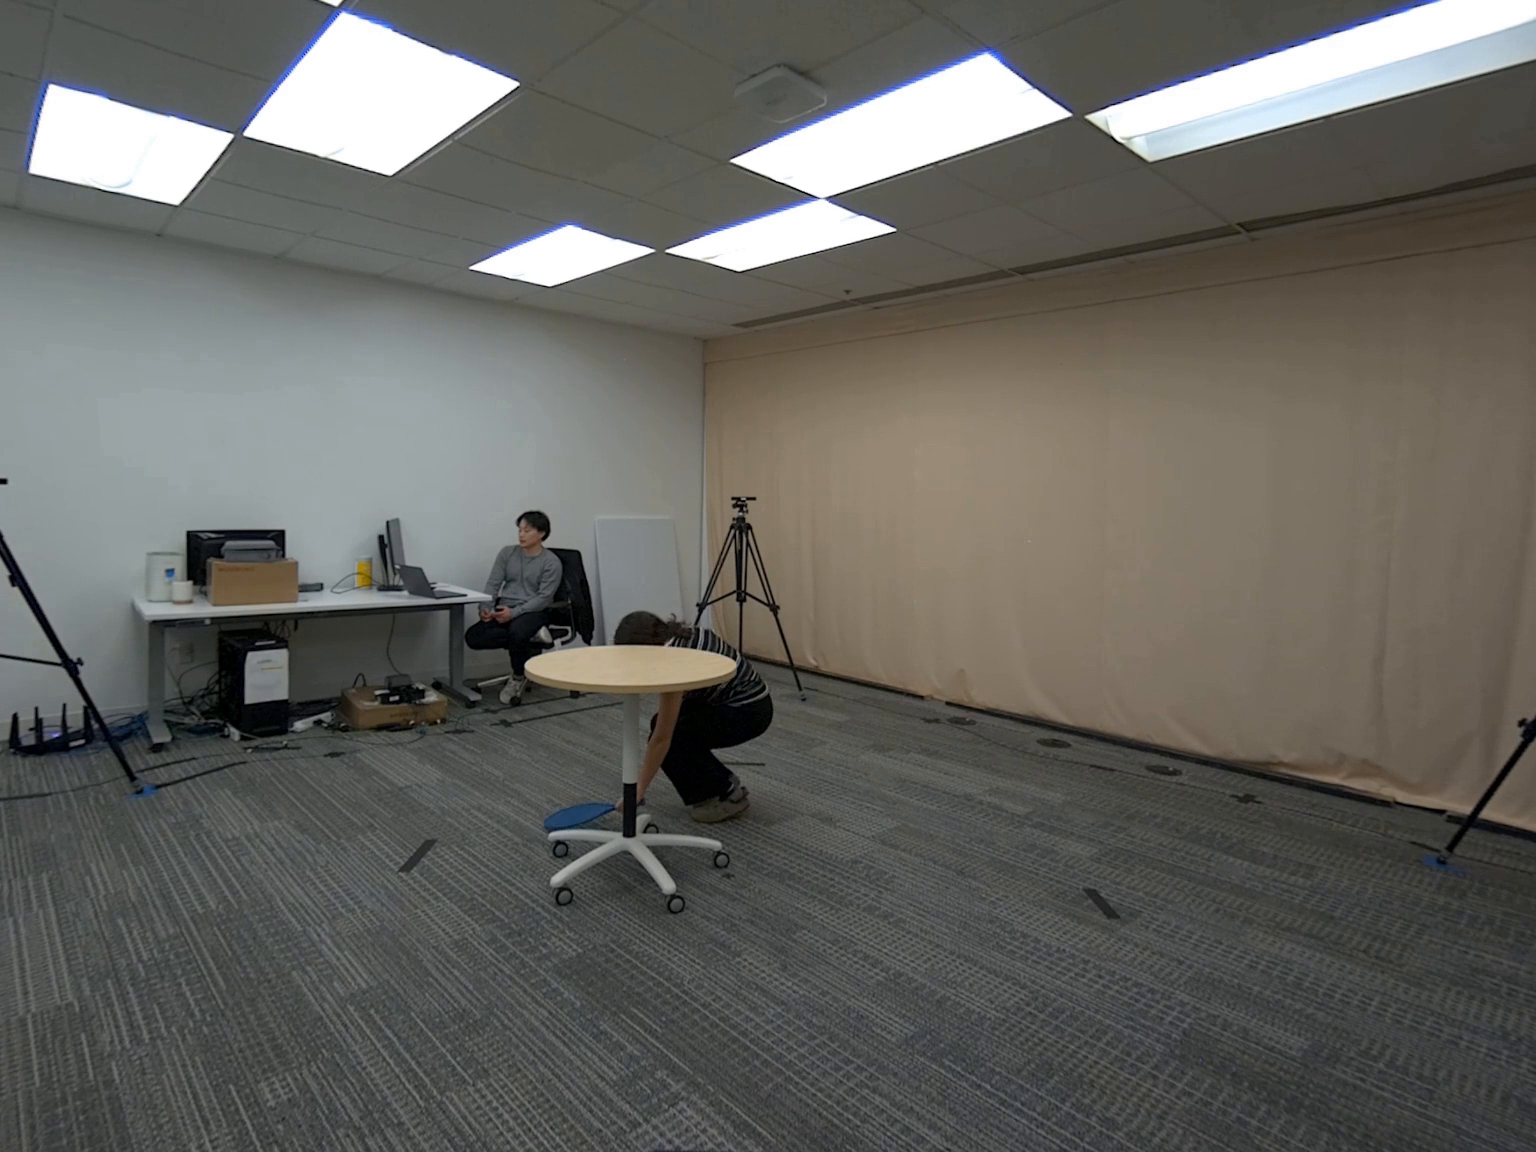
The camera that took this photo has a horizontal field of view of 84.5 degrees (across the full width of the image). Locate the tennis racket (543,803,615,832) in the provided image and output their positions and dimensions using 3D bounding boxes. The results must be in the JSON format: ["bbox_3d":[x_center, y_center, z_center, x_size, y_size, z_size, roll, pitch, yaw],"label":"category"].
[{"bbox_3d":[-0.723,0.978,3.507,0.433,0.031,0.215,-11,7,1],"label":"tennis racket"}]
